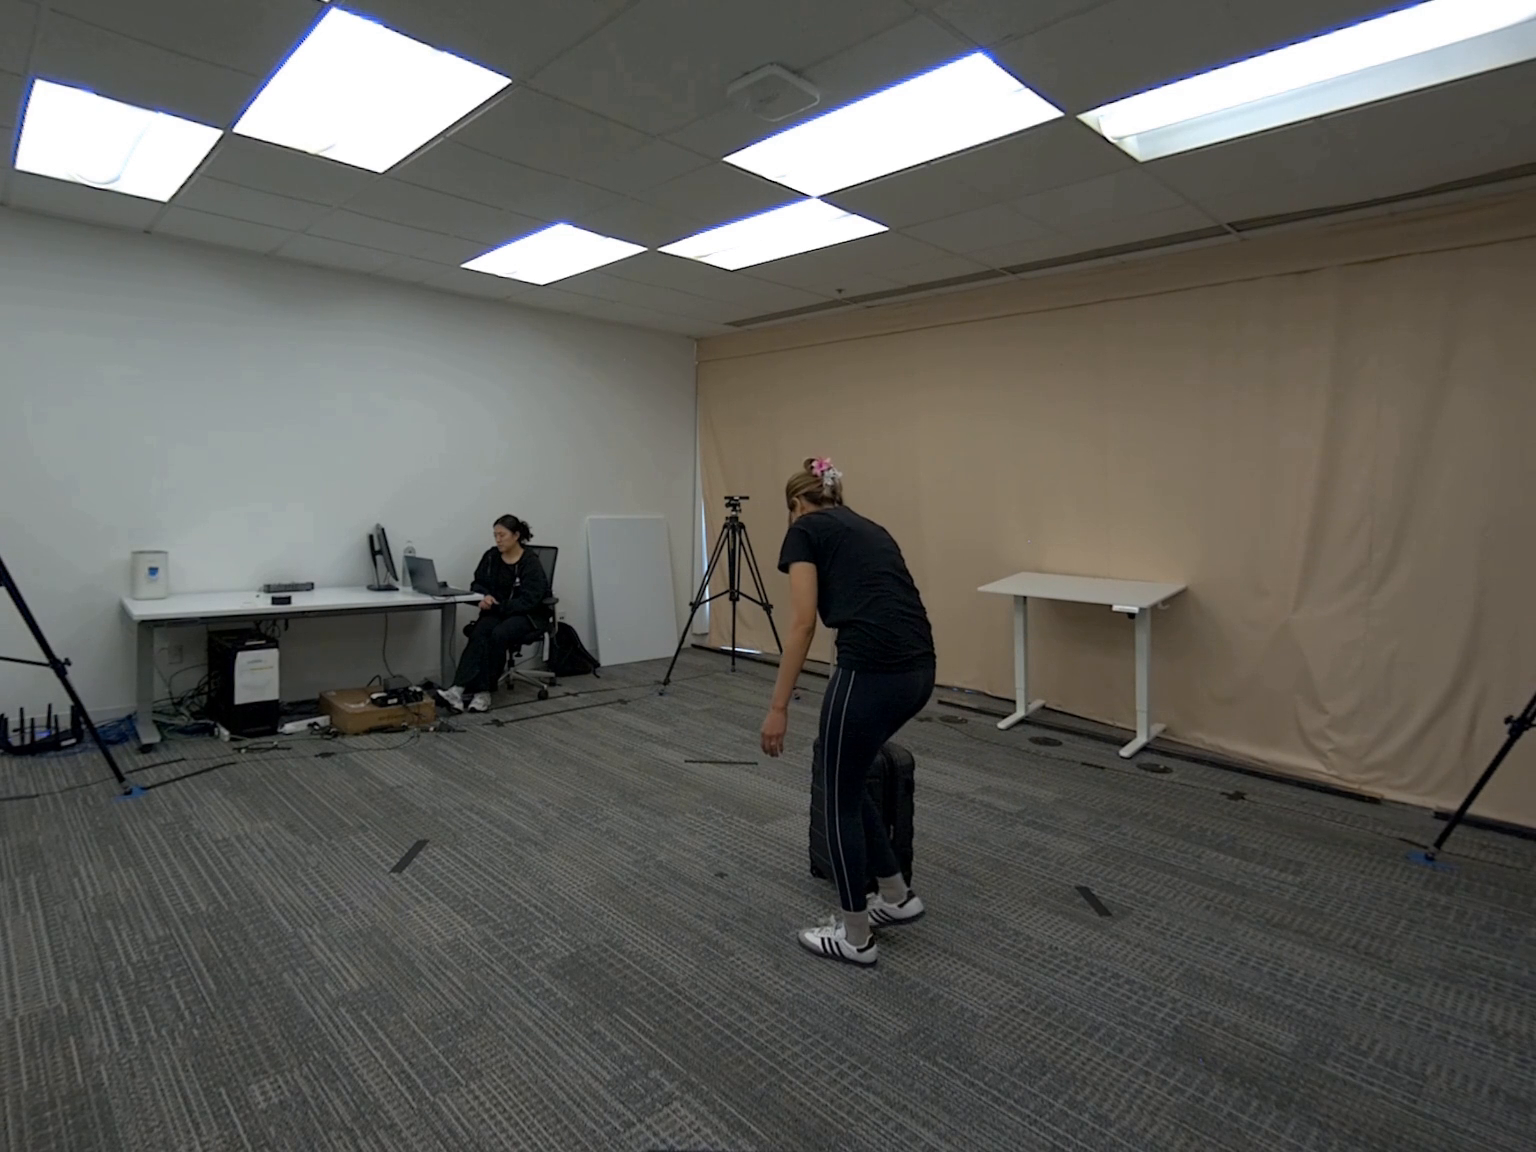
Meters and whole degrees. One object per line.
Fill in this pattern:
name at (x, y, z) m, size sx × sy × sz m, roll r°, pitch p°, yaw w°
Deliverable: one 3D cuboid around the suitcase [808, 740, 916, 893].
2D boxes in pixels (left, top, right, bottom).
suitcase at (0.341, 0.645, 3.013) m, size 0.253 × 0.977 × 0.391 m, roll 2°, pitch 3°, yaw -23°
